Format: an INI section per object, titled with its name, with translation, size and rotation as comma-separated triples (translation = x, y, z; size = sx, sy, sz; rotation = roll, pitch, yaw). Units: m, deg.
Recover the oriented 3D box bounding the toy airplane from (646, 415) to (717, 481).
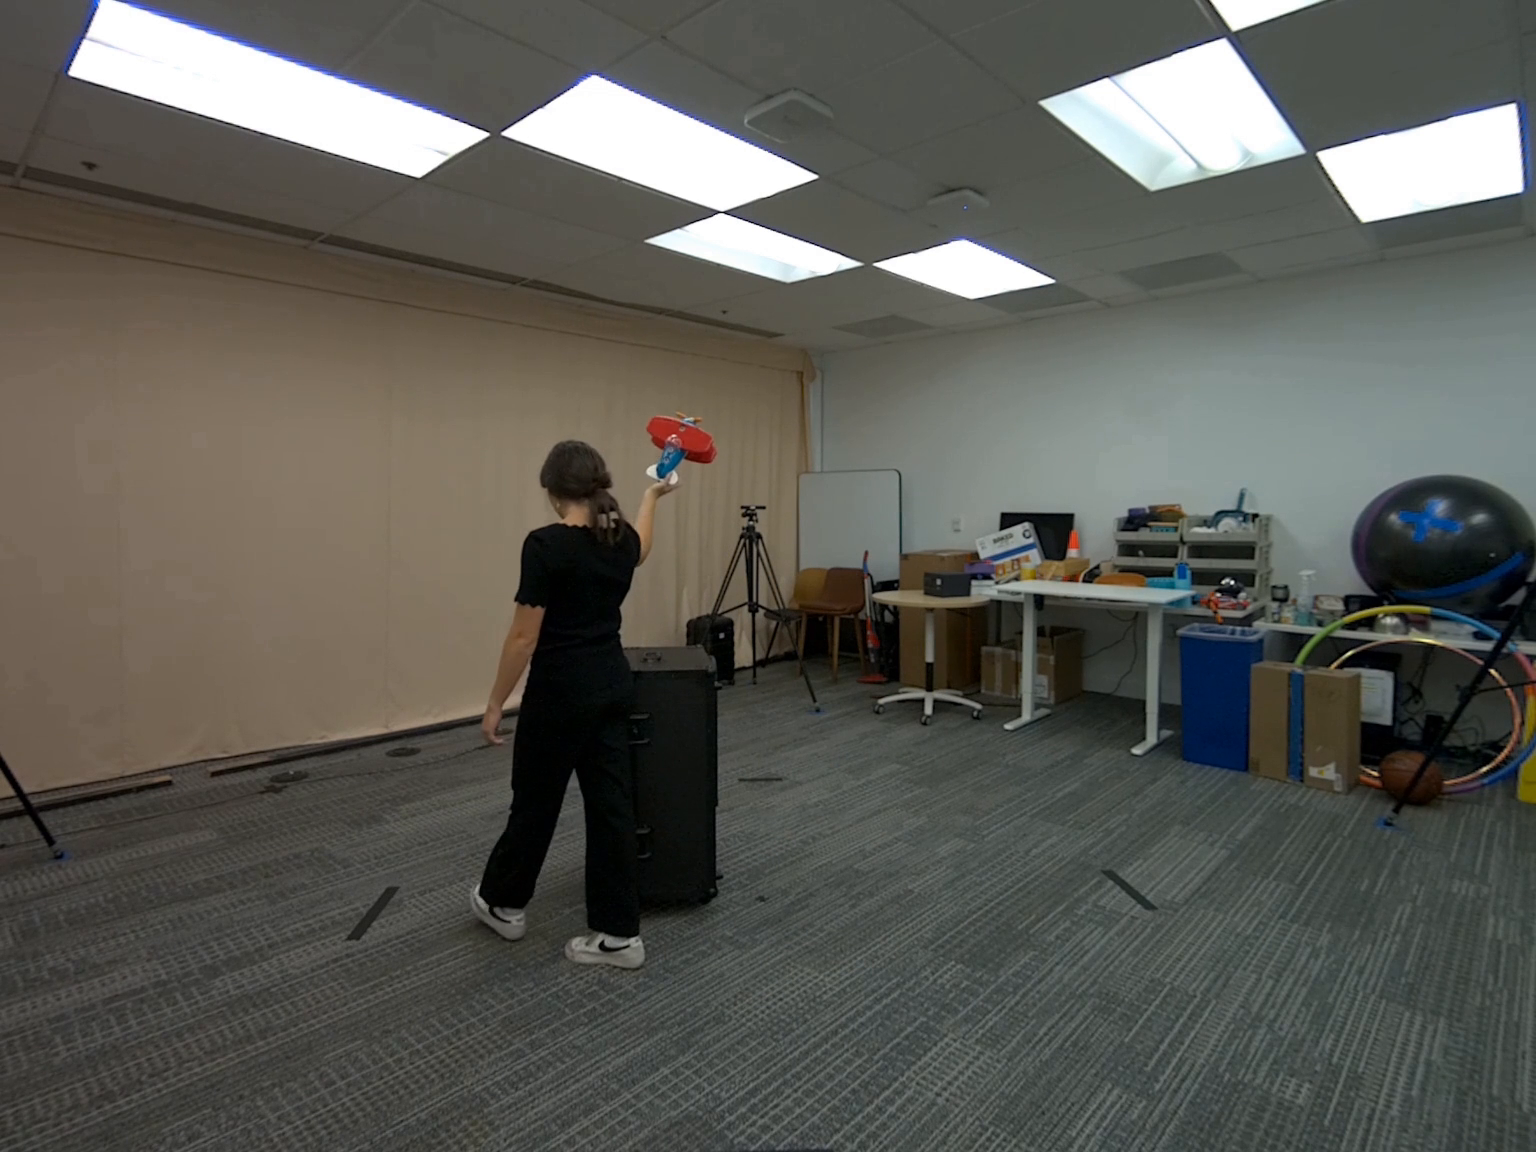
[toy airplane]
translation = -0.311, -0.446, 3.008
size = 0.252, 0.264, 0.153
rotation = -2, -35, 2
